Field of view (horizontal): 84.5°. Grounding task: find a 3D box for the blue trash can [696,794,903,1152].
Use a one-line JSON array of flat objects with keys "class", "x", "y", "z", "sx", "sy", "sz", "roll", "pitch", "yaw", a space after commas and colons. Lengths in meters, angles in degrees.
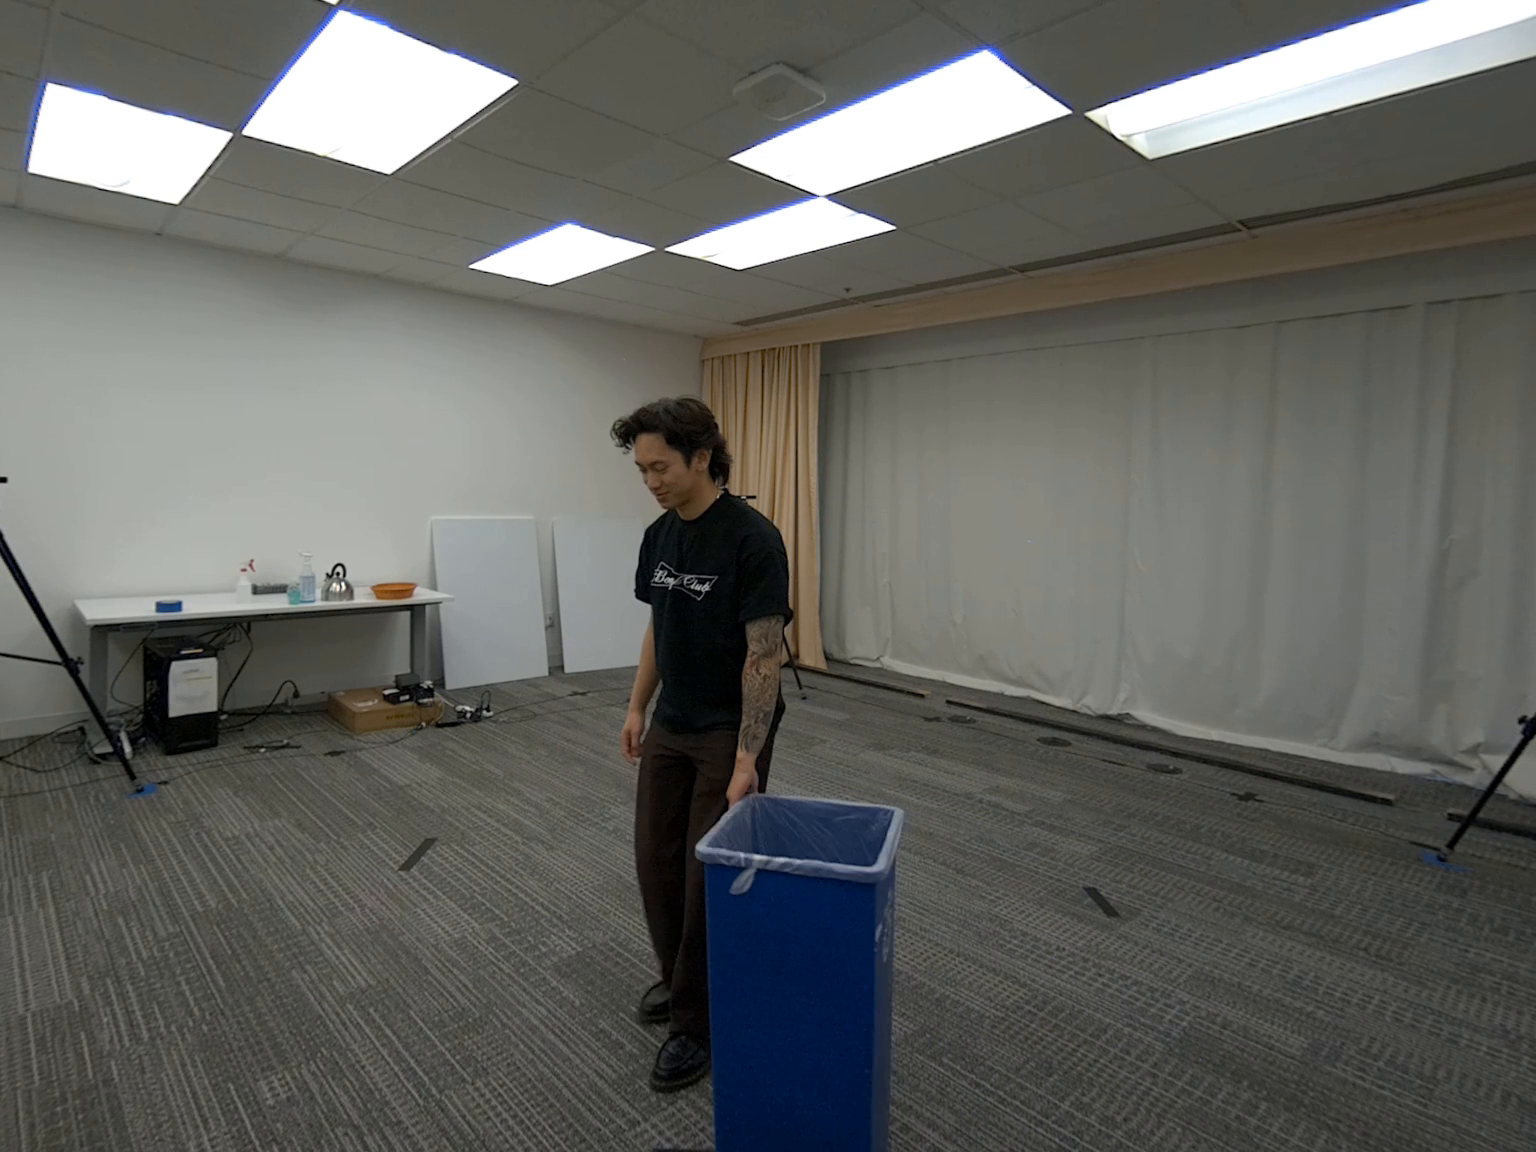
[{"class": "blue trash can", "x": 0.080, "y": 0.877, "z": 1.743, "sx": 0.383, "sy": 0.712, "sz": 0.370, "roll": 1, "pitch": 4, "yaw": 16}]
